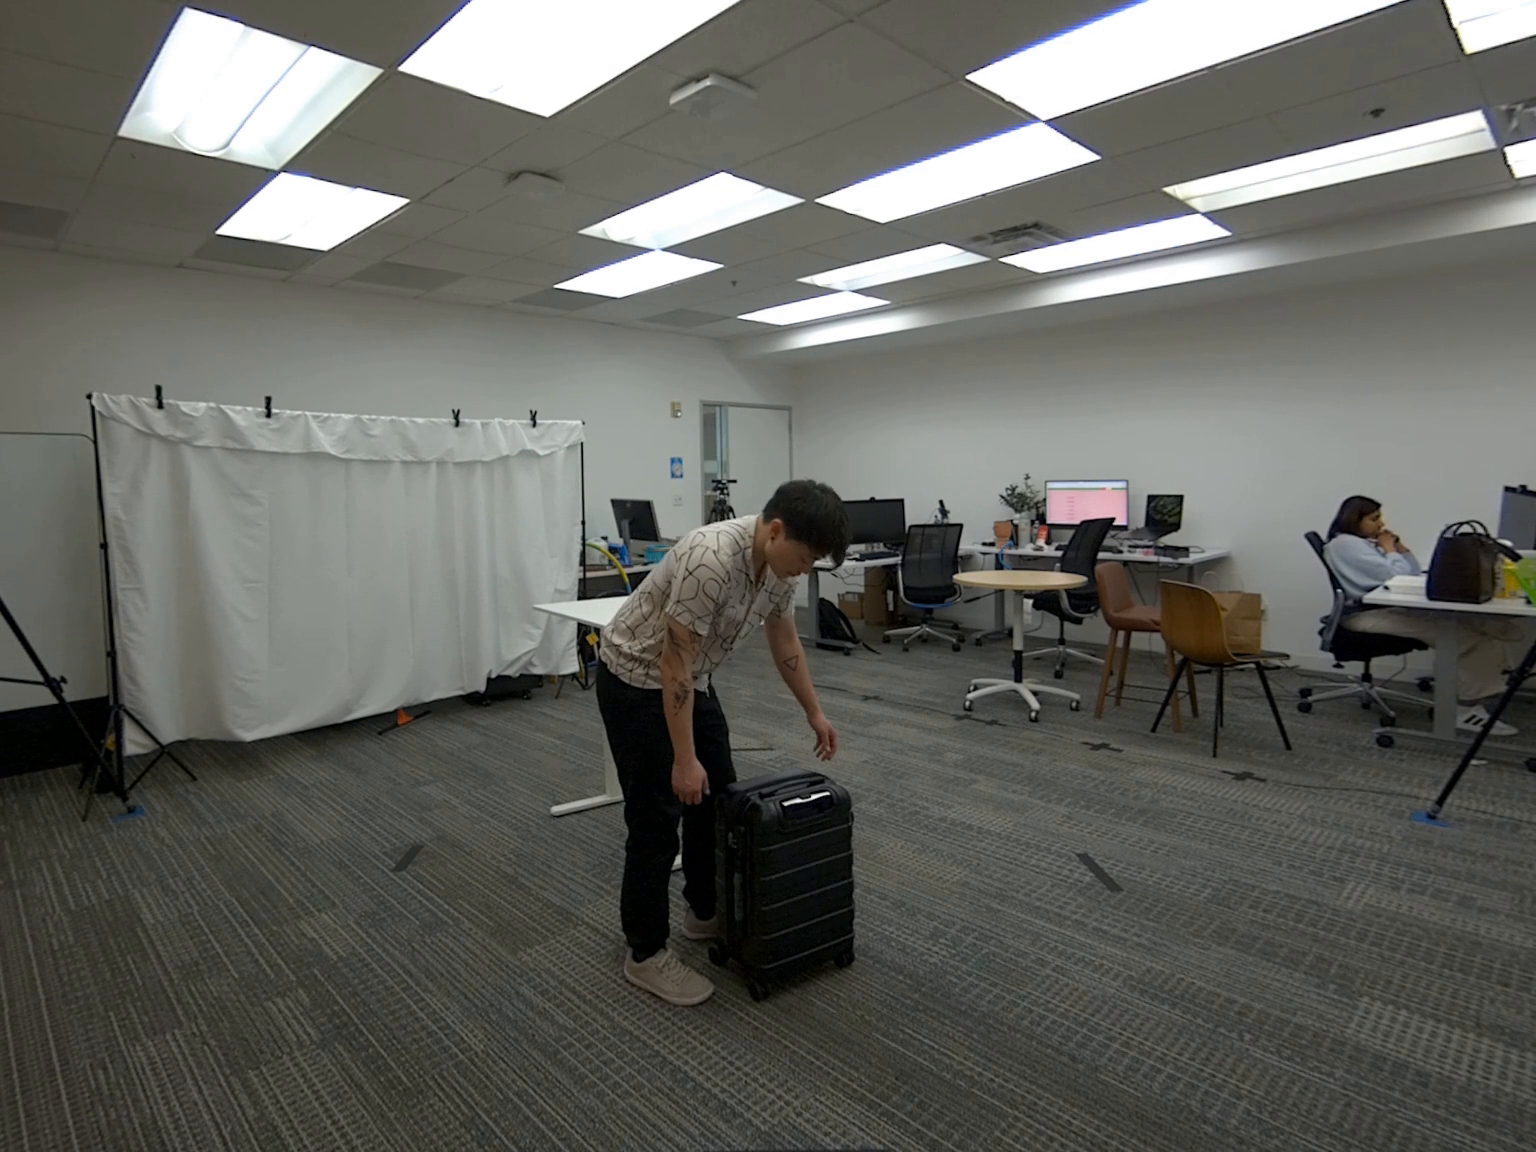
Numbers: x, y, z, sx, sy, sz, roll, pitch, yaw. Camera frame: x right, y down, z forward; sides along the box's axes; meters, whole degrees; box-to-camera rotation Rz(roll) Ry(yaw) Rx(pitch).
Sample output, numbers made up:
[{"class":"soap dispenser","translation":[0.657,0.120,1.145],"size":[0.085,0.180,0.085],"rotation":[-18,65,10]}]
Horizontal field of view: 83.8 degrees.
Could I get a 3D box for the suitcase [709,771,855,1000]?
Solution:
[{"class":"suitcase","translation":[0.048,0.841,2.439],"size":[0.366,0.547,0.255],"rotation":[-3,4,-32]}]
